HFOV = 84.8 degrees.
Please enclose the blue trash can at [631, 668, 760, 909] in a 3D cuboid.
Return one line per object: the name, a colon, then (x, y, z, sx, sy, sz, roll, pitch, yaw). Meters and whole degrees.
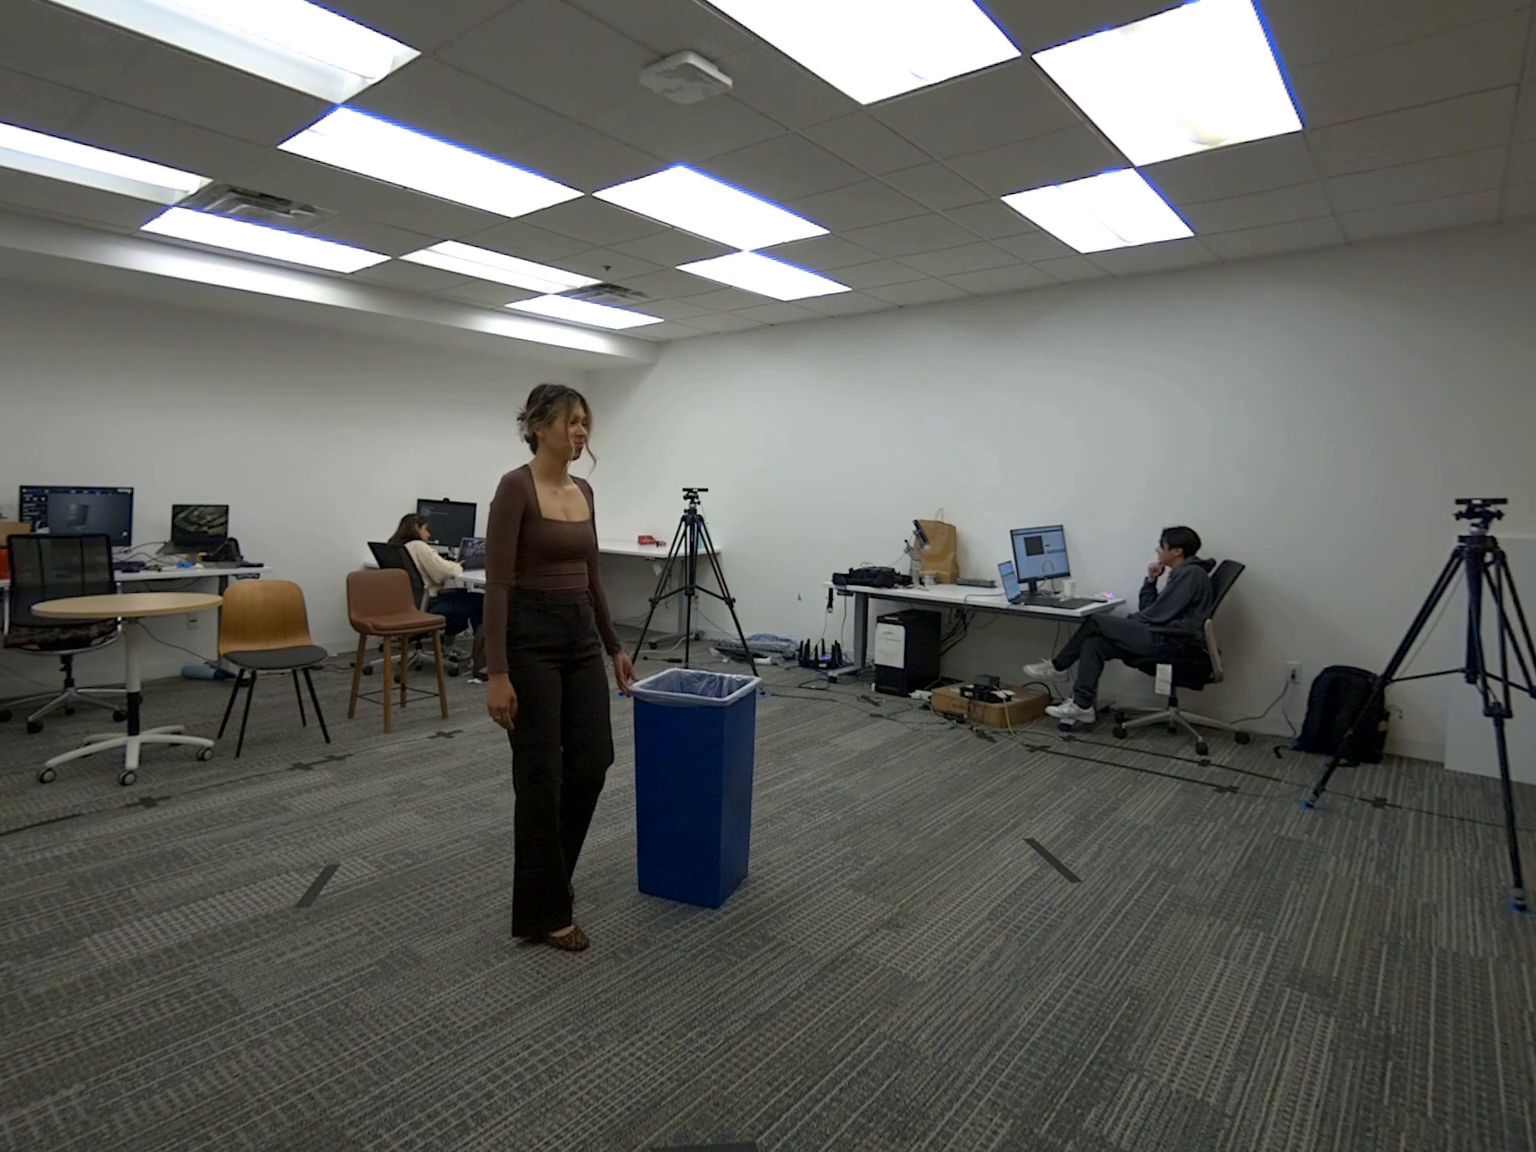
blue trash can: (-0.261, 0.722, 2.979, 0.387, 0.712, 0.366, 2, 3, 21)
